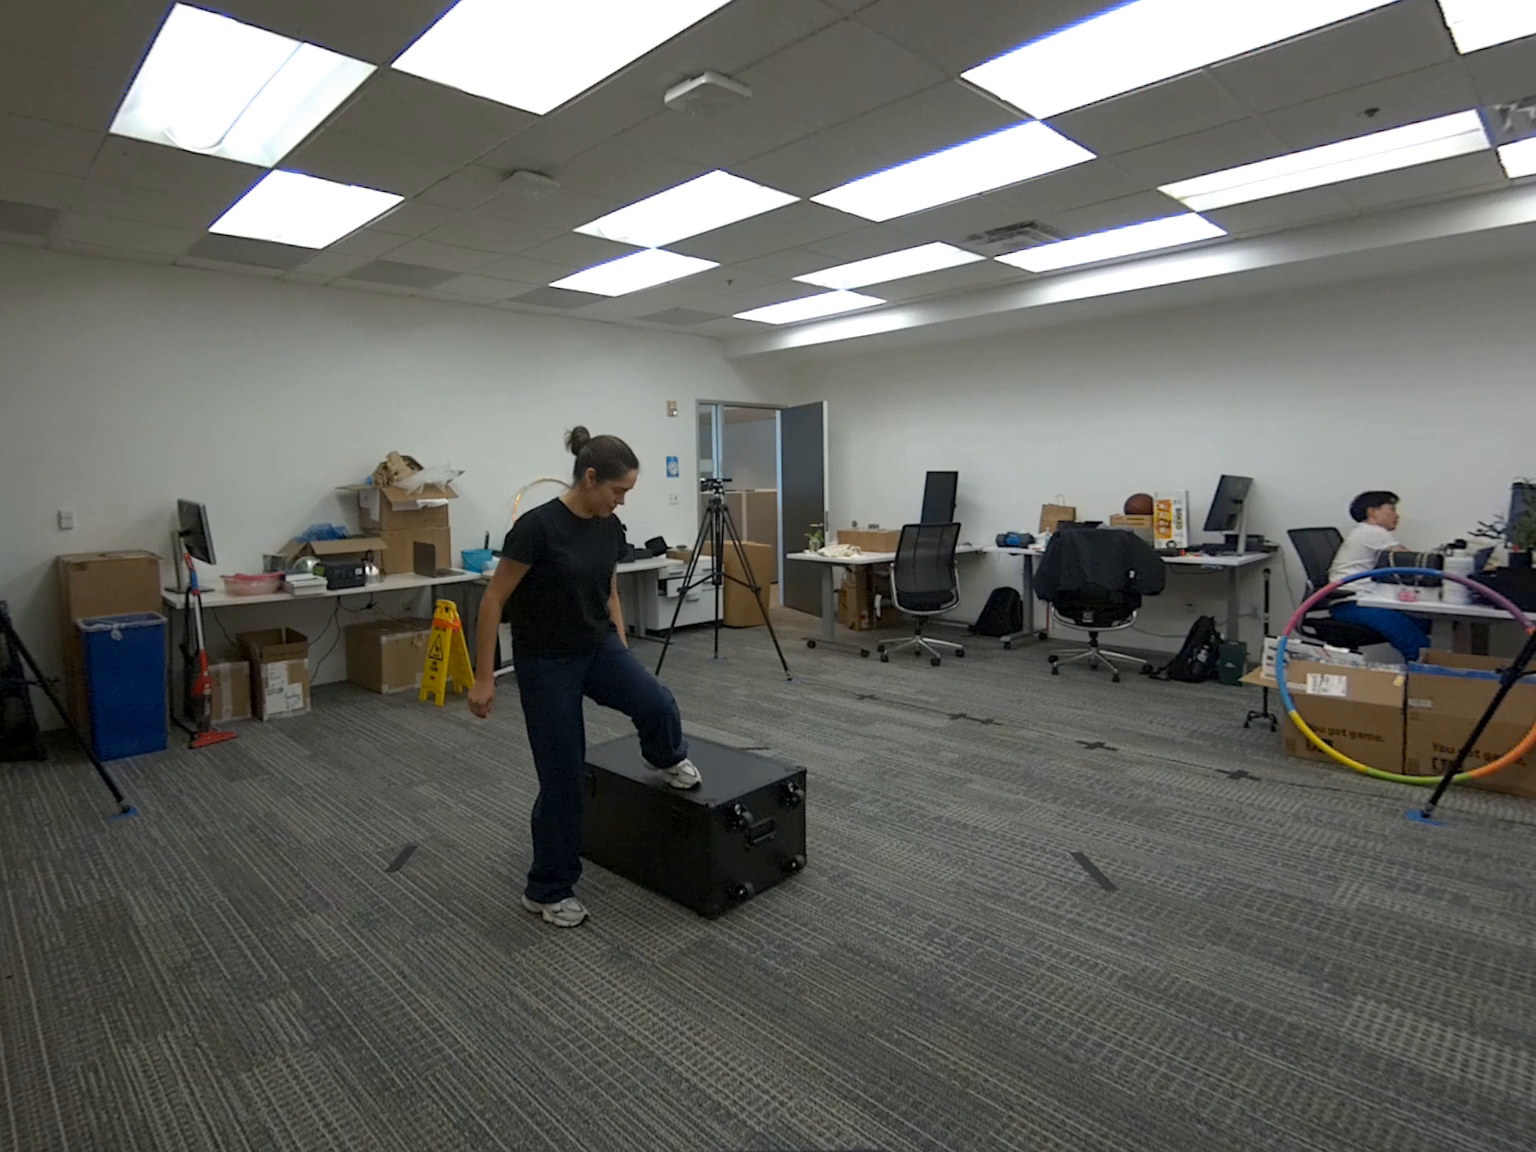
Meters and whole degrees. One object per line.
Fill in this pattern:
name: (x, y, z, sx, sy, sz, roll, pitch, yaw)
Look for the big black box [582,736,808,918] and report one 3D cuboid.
big black box: (-0.293, 0.858, 3.111, 0.888, 0.394, 0.508, 4, 8, 42)
